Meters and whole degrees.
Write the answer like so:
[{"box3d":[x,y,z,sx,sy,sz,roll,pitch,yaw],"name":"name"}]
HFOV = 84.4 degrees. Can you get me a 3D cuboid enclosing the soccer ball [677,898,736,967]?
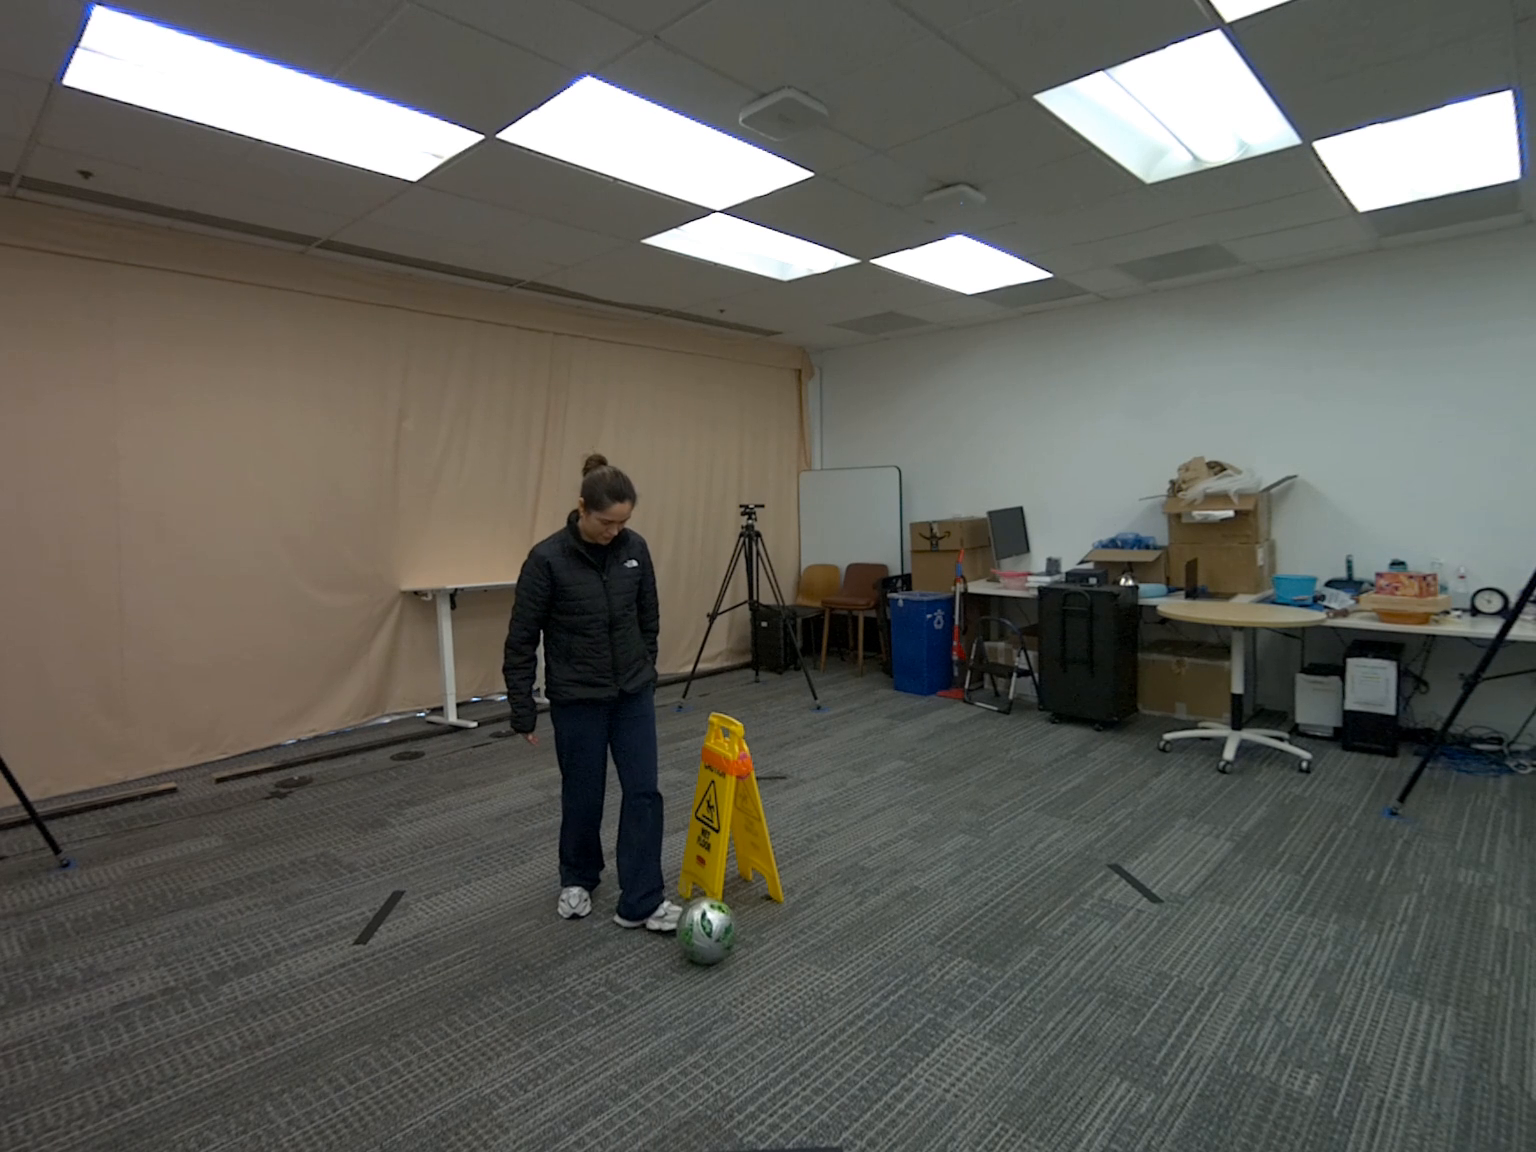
[{"box3d":[-0.188,1.073,2.578,0.187,0.187,0.188,-1,4,-2],"name":"soccer ball"}]
